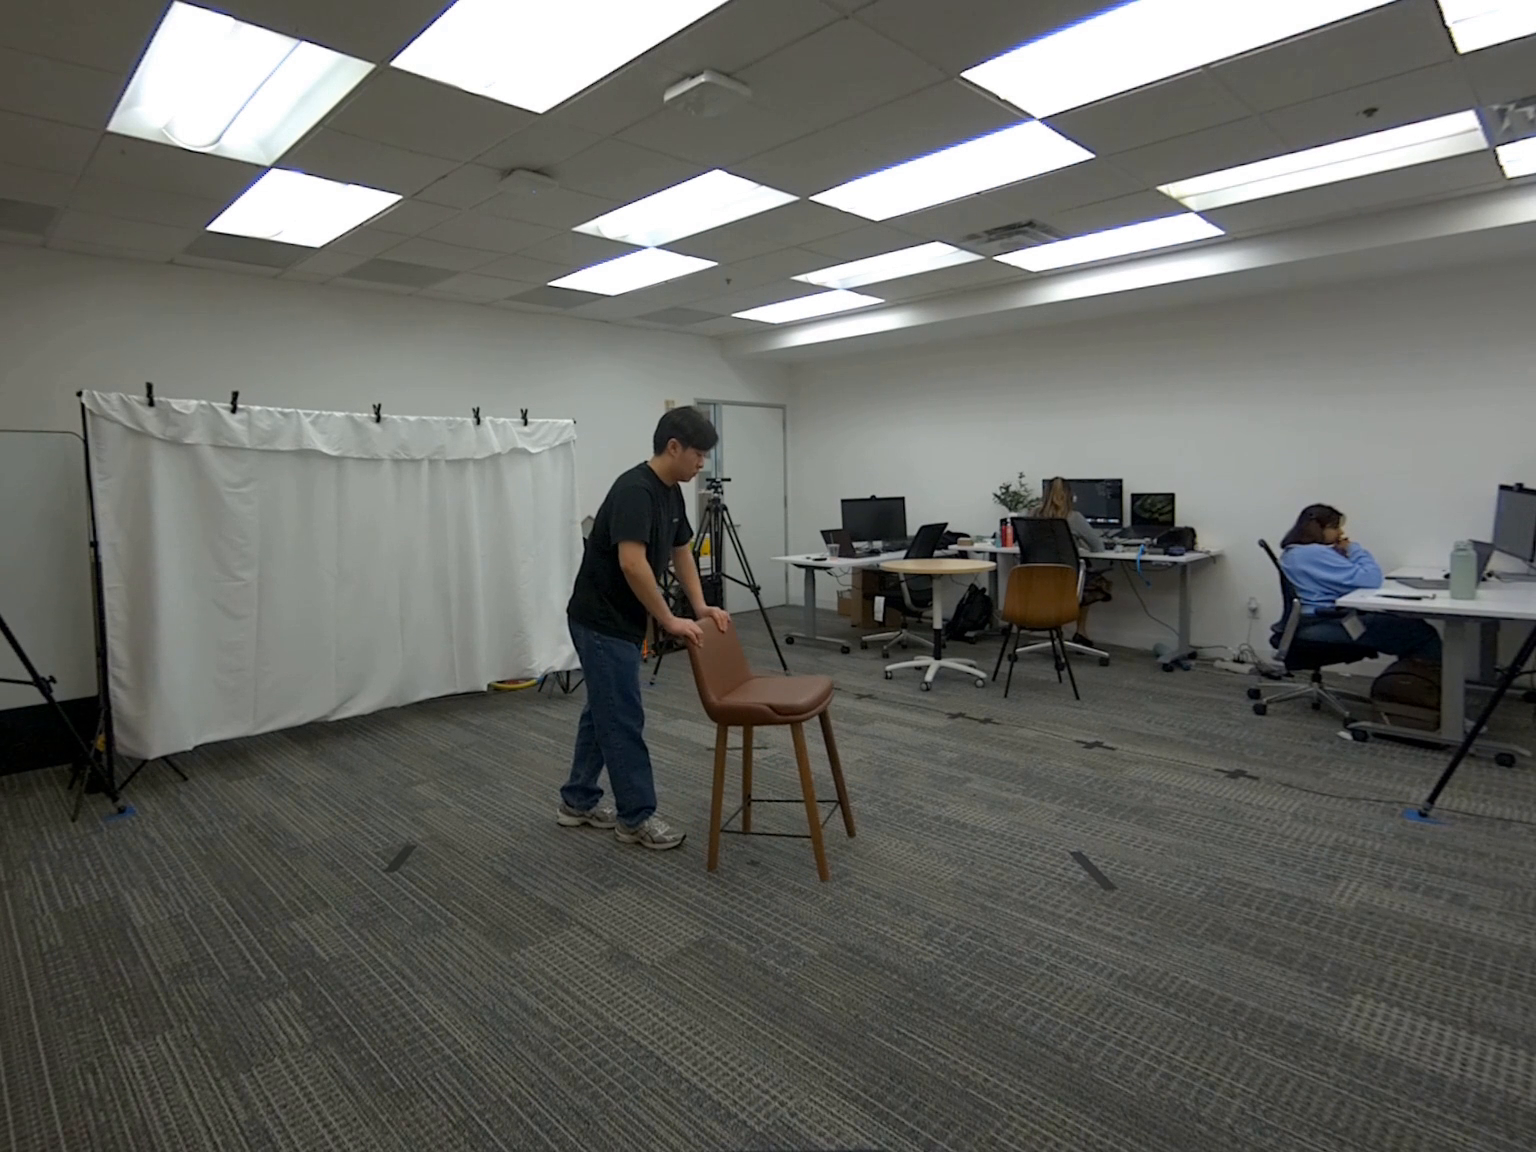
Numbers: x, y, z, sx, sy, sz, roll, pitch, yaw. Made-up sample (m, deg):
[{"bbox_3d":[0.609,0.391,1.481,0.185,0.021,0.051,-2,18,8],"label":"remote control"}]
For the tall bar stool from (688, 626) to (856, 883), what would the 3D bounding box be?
[{"bbox_3d":[0.010,0.588,3.122,0.476,0.889,0.448,-7,1,22],"label":"tall bar stool"}]
